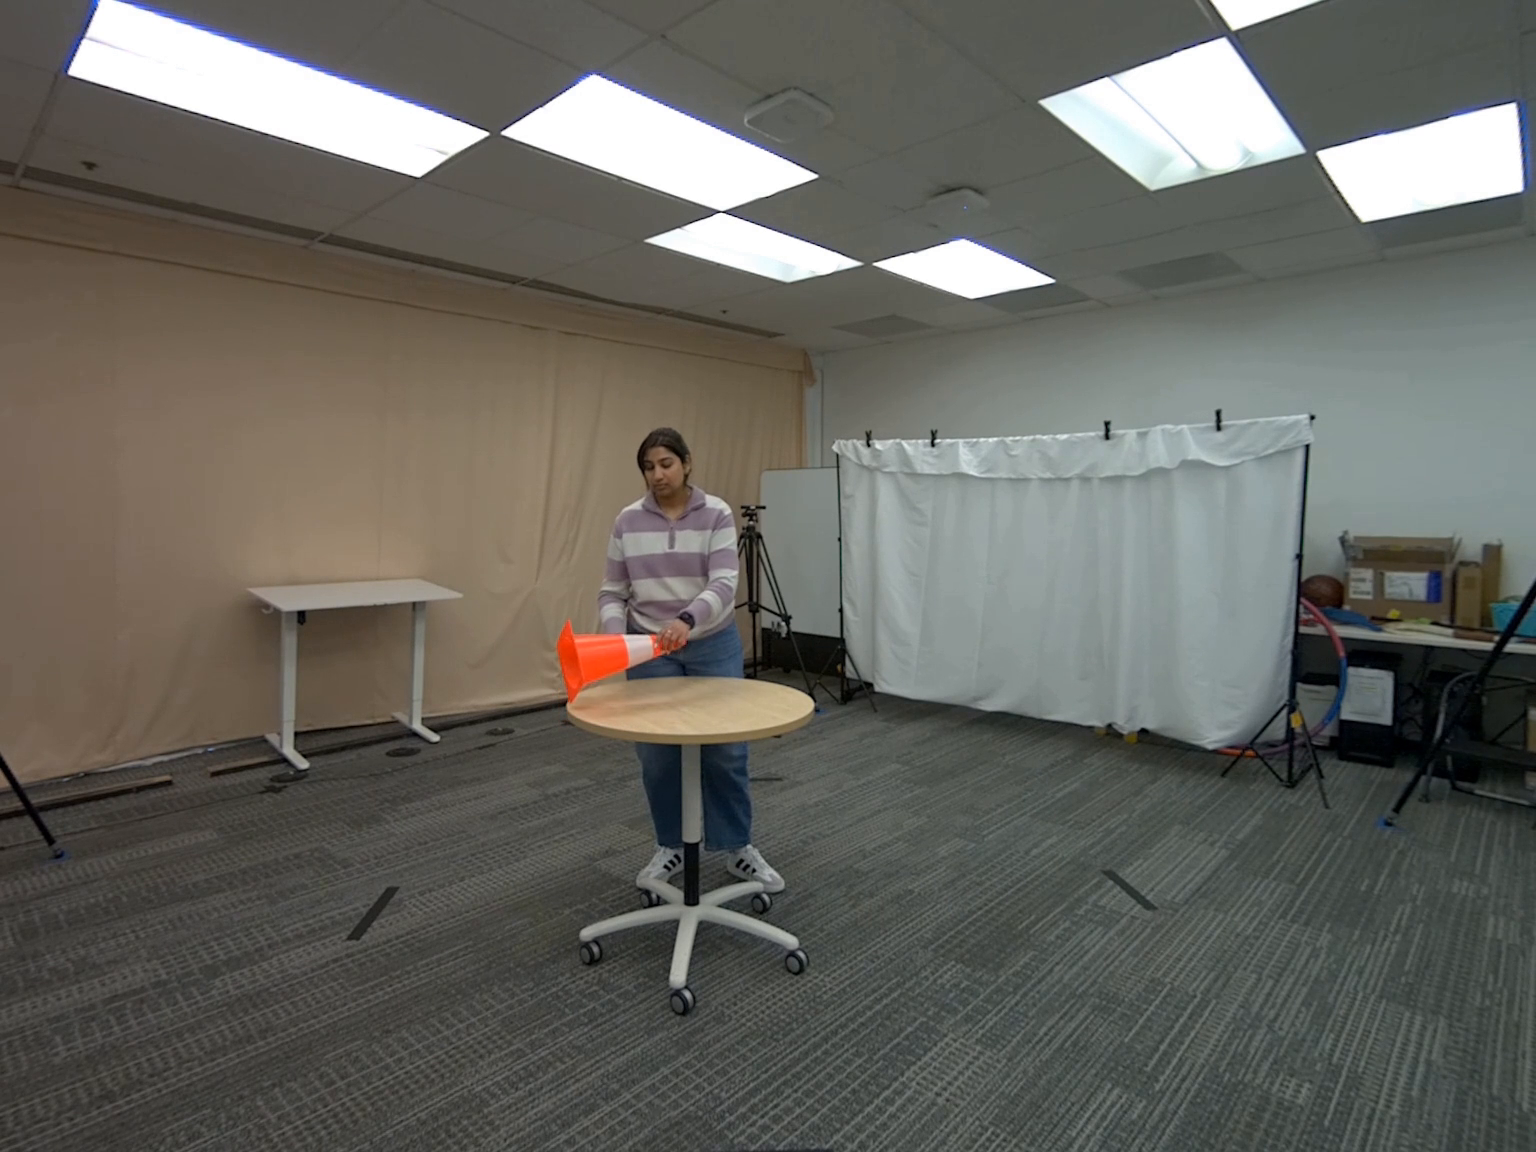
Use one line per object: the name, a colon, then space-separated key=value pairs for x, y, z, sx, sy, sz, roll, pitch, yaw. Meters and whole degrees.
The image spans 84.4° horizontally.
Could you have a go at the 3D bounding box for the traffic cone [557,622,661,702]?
traffic cone: x=-0.419 y=0.228 z=2.579 sx=0.375 sy=0.209 sz=0.203 roll=-10 pitch=-26 yaw=-27
